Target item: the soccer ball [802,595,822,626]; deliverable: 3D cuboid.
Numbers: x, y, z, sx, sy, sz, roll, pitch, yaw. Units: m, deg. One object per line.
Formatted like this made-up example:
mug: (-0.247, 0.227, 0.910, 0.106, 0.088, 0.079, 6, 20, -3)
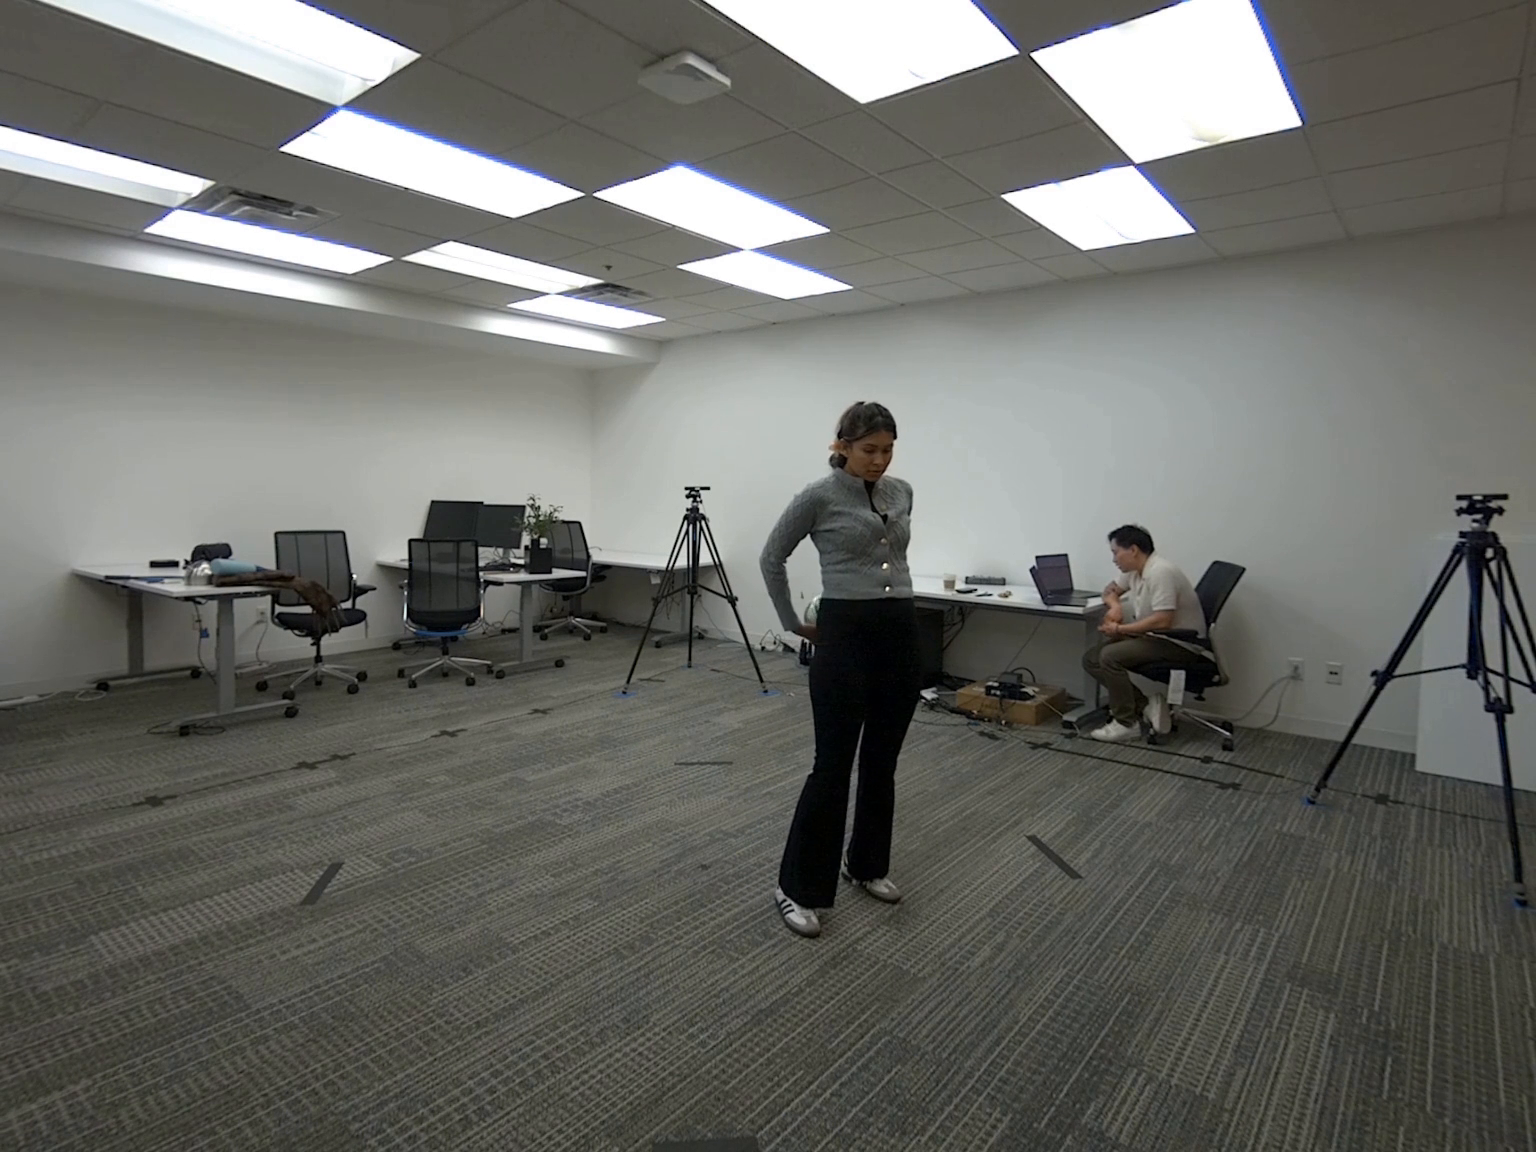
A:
soccer ball: (0.219, 0.145, 3.053, 0.187, 0.187, 0.188, 0, 4, -2)
